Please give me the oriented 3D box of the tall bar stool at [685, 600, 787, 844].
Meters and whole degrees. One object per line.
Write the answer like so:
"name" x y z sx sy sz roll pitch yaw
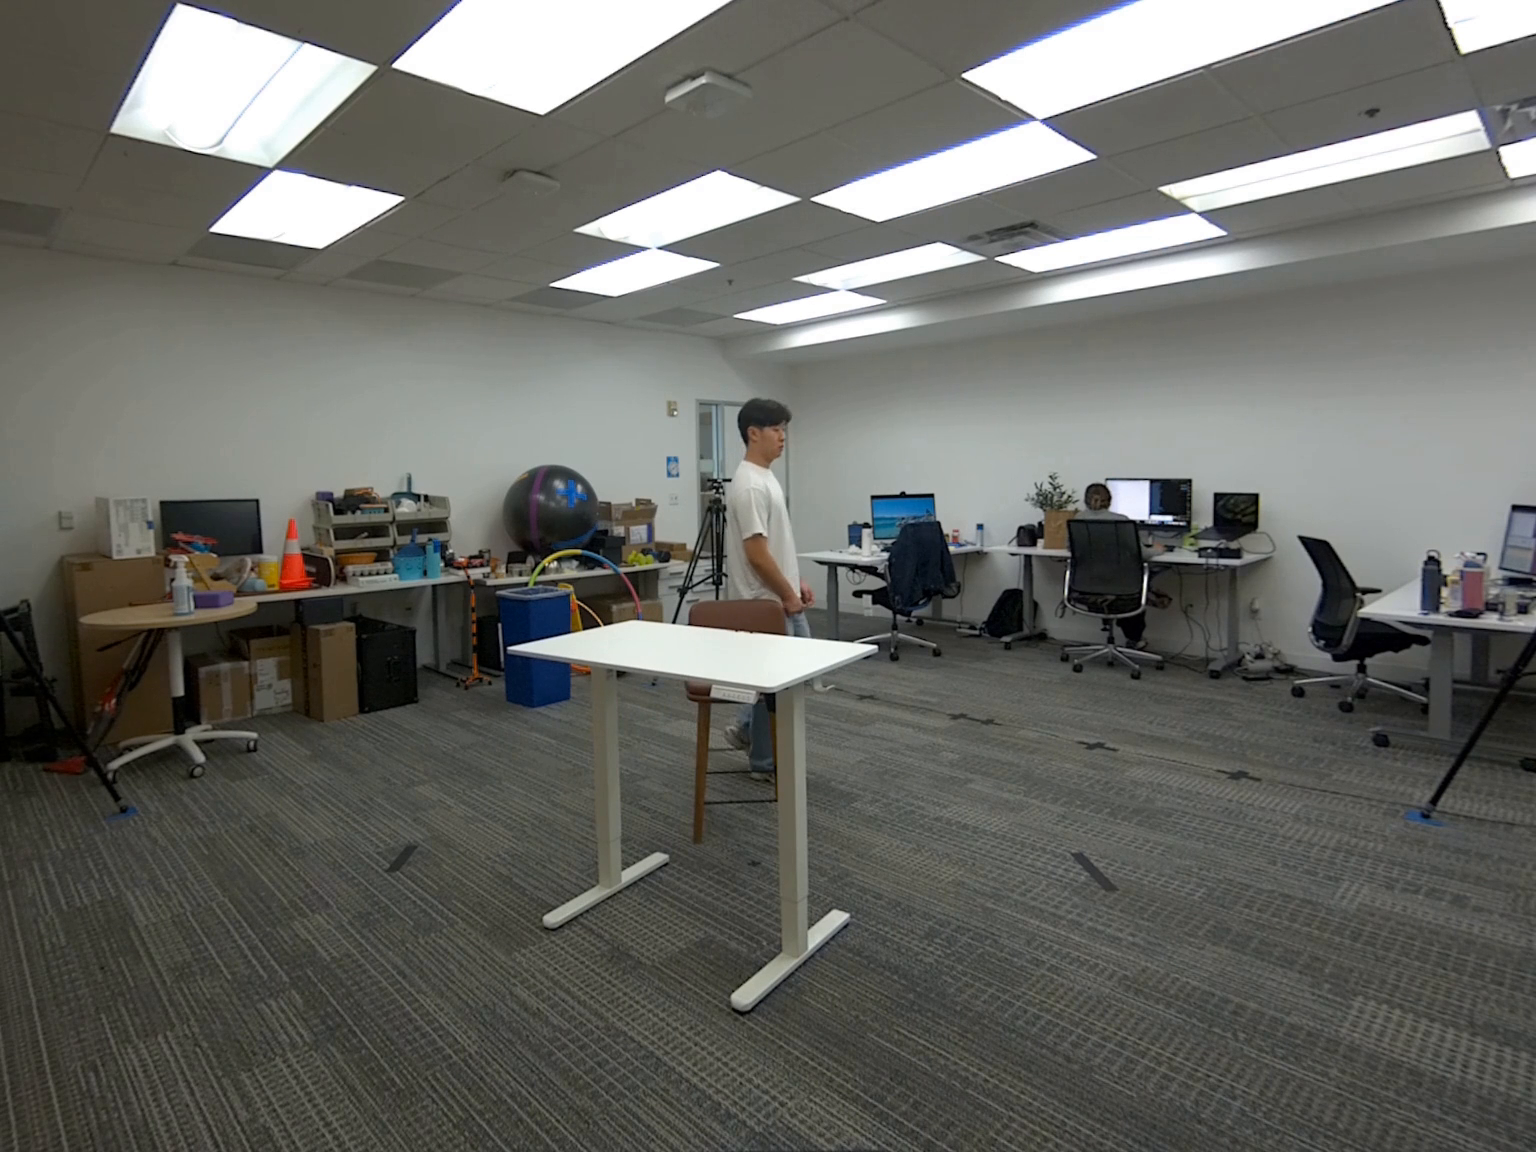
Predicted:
"tall bar stool" -0.102 0.566 3.494 0.455 0.888 0.470 -1 2 -5
